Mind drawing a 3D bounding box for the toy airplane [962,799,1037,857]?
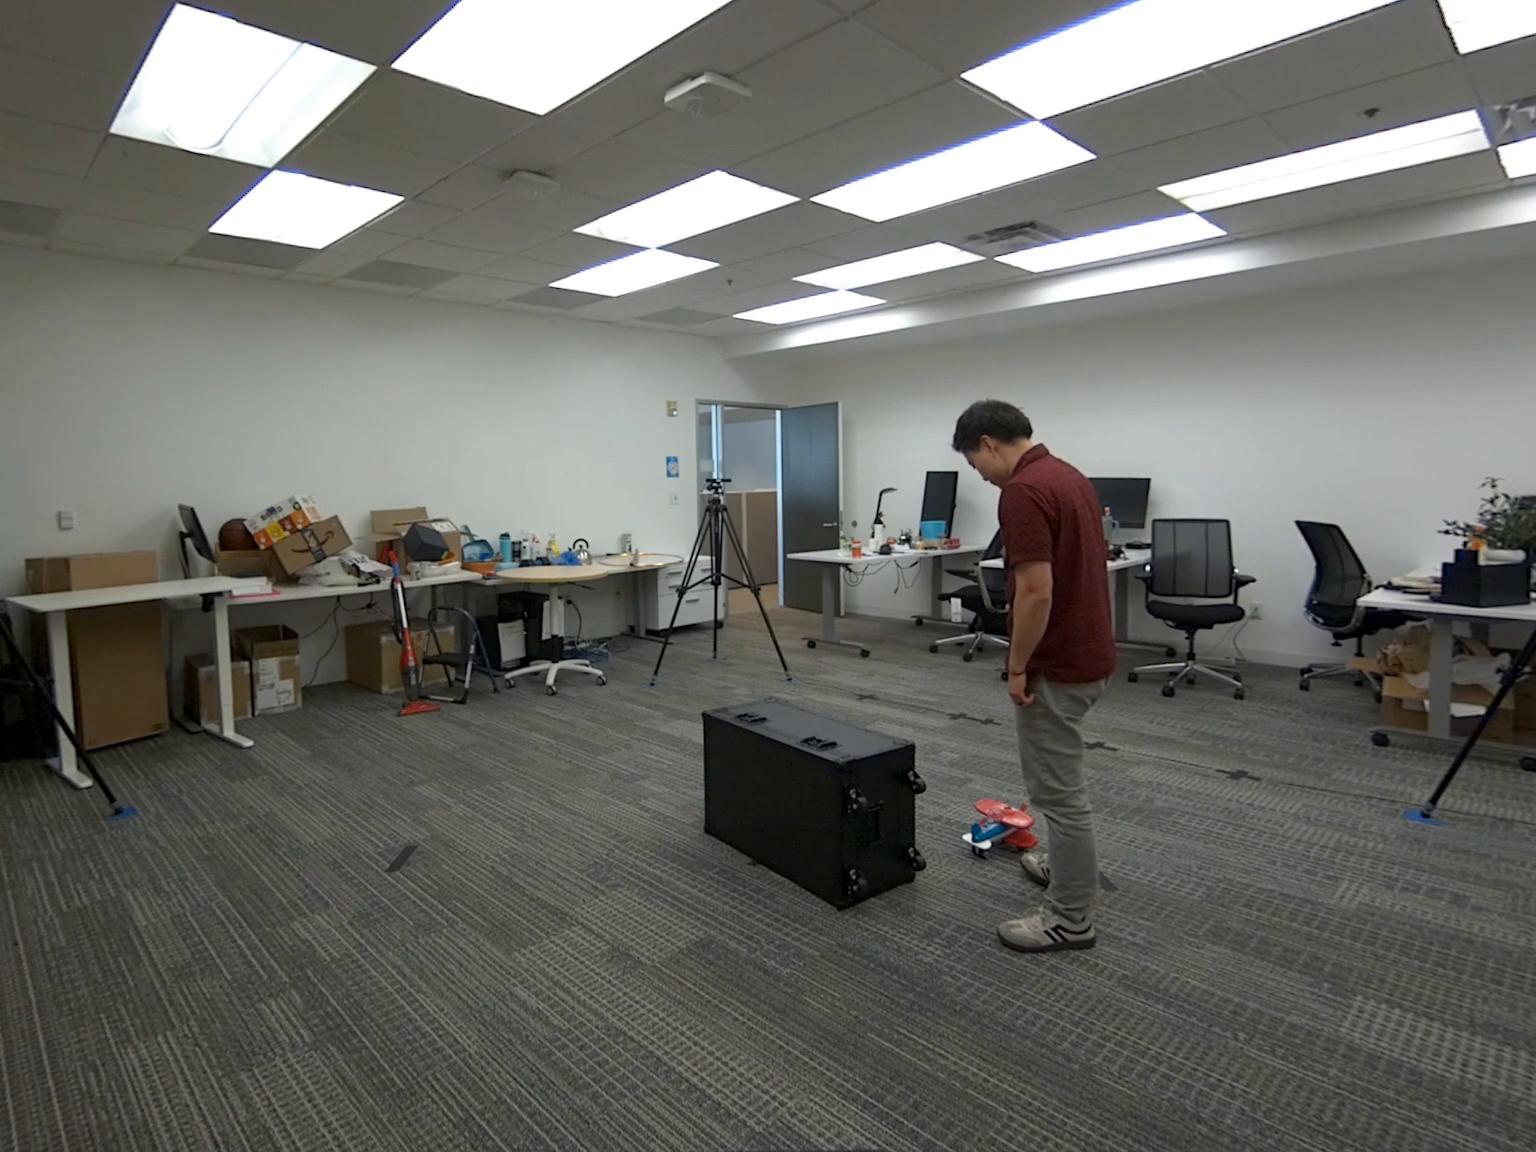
[{"bbox_3d":[0.860,0.942,3.155,0.258,0.156,0.253,3,5,32],"label":"toy airplane"}]
